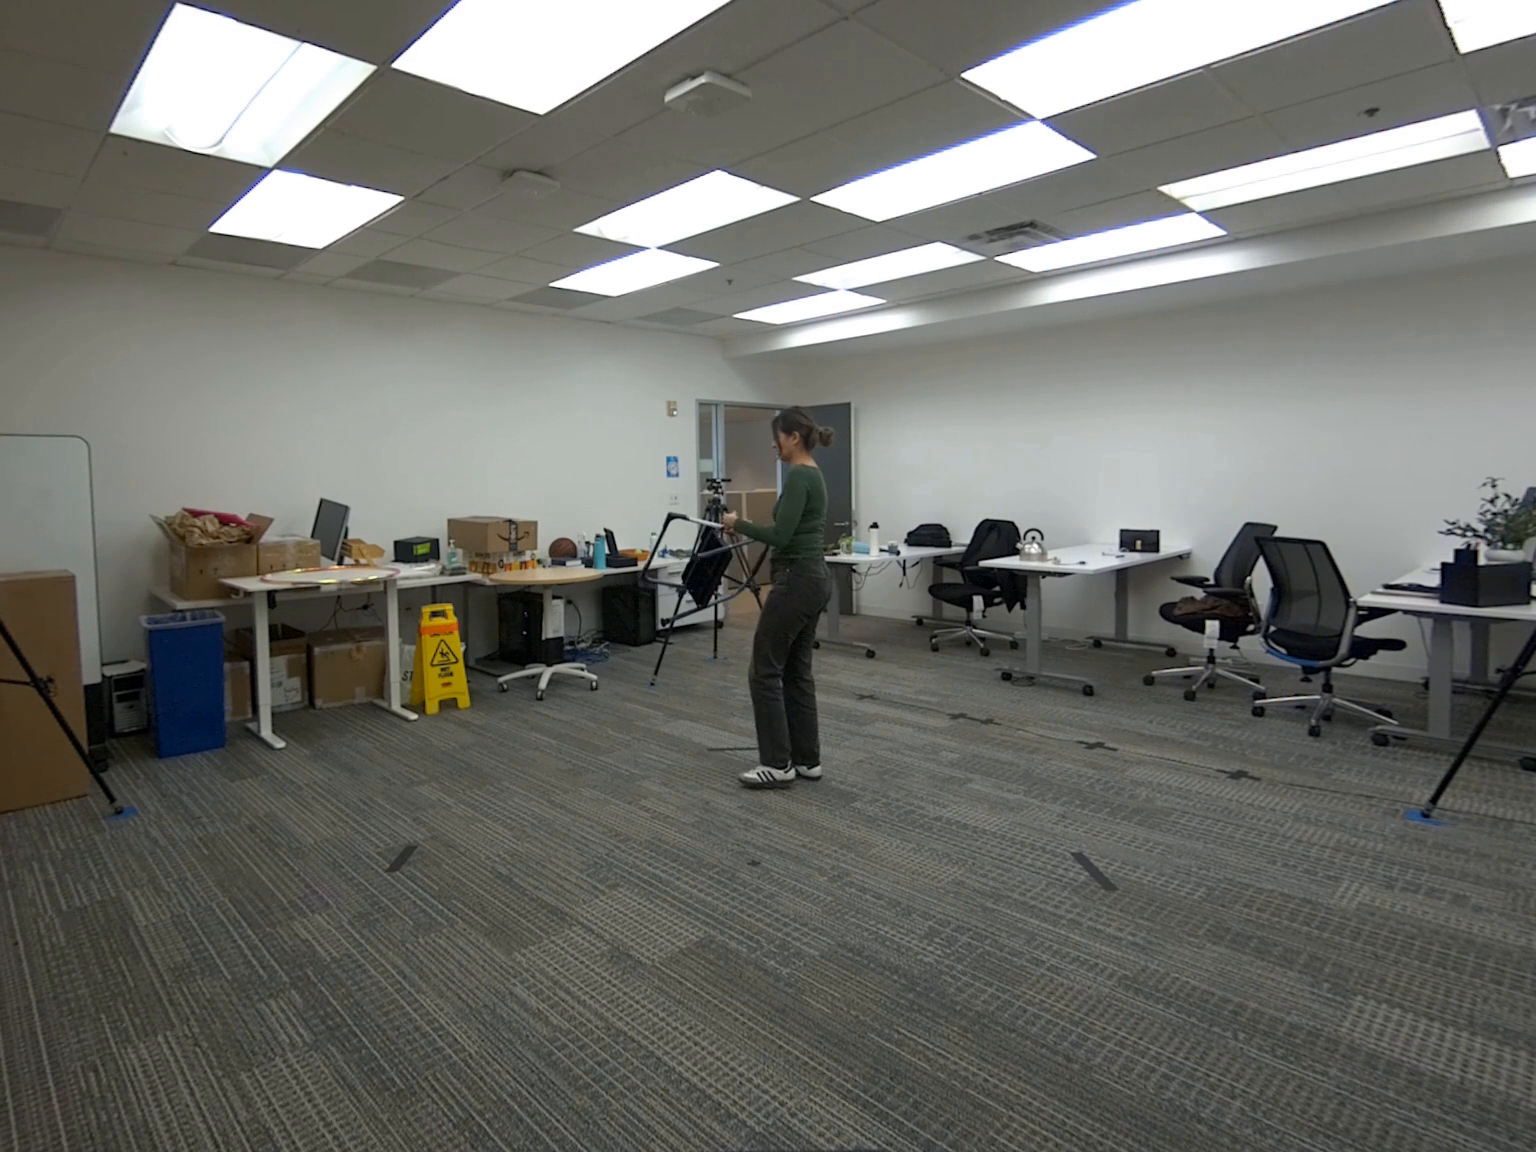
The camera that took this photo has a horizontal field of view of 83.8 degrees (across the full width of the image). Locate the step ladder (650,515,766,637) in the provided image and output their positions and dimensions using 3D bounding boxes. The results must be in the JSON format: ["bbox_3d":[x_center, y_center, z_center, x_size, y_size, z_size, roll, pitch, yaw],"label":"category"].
[{"bbox_3d":[-0.240,-0.024,4.133,0.589,0.426,0.363,3,38,-36],"label":"step ladder"}]
